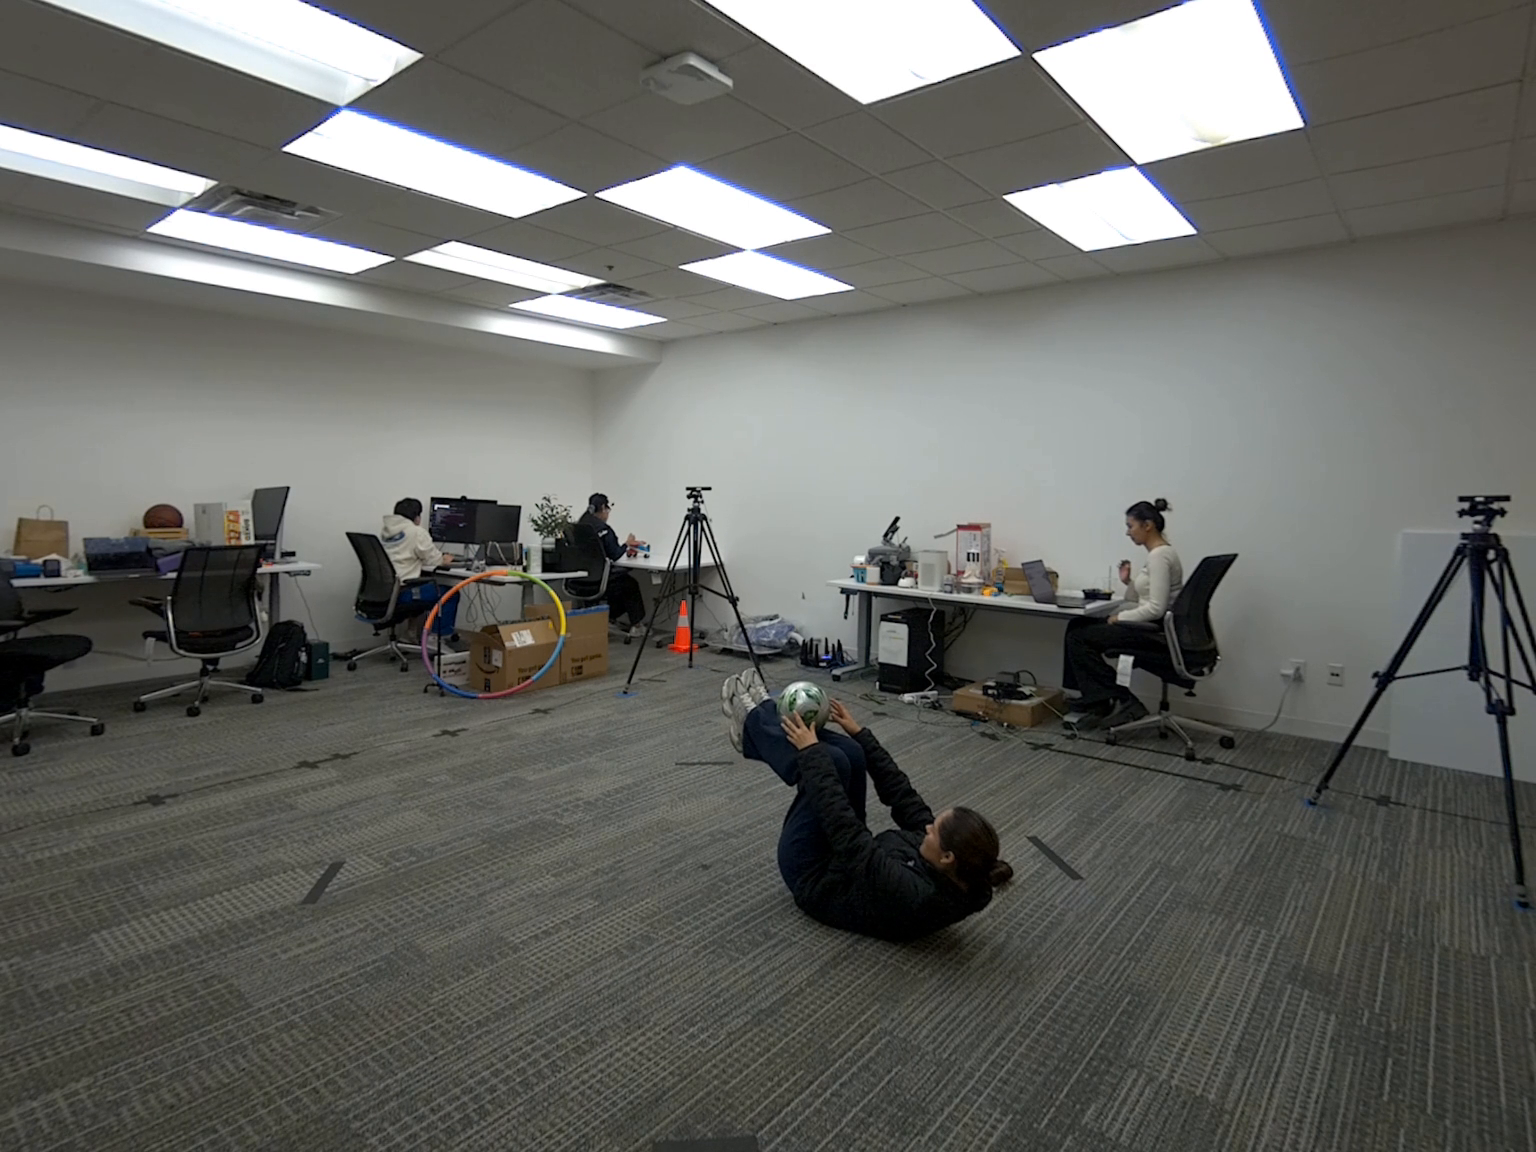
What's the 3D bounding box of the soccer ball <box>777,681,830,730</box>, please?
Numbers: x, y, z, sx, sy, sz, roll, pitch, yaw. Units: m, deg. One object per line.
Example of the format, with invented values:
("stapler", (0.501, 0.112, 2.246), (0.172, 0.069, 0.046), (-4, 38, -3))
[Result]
("soccer ball", (0.110, 0.456, 2.953), (0.187, 0.187, 0.188), (-3, 3, -2))
